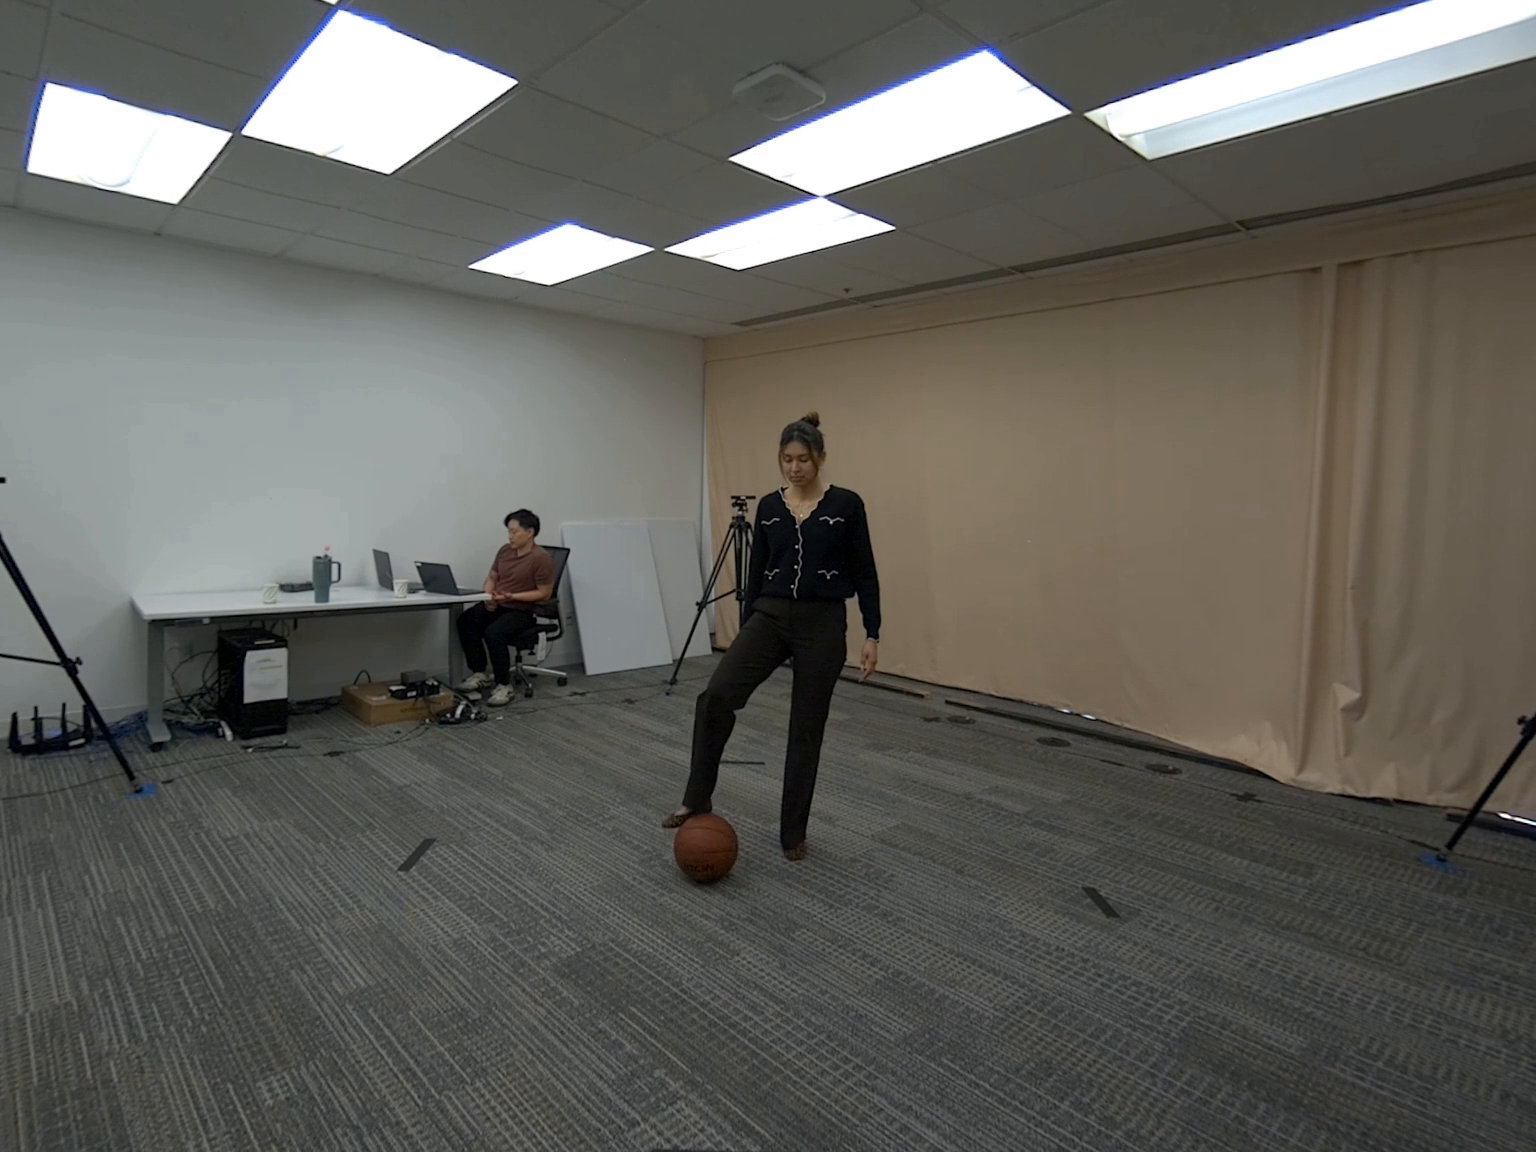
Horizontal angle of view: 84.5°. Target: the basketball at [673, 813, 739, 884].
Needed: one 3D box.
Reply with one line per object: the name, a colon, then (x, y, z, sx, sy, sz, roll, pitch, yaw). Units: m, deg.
basketball: (-0.226, 0.983, 3.059, 0.236, 0.235, 0.237, 1, 4, -1)
